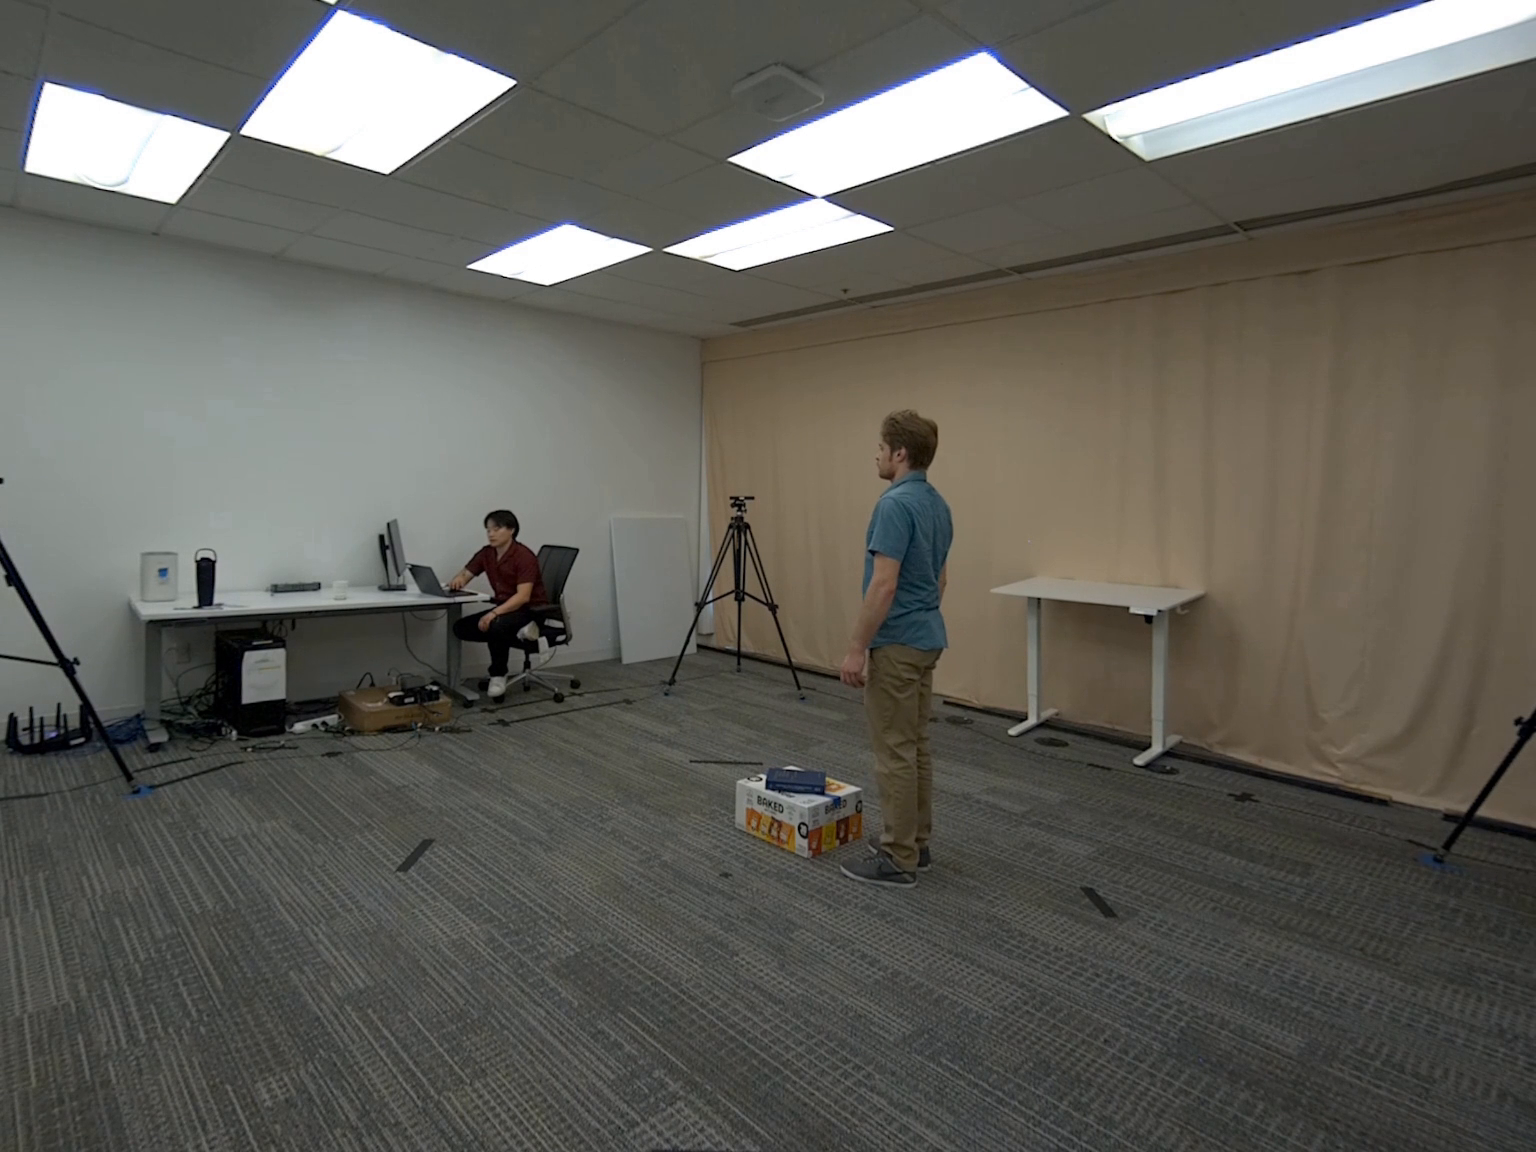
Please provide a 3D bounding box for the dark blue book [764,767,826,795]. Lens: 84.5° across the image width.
[{"bbox_3d":[0.111,0.859,3.525,0.247,0.045,0.163,3,5,7],"label":"dark blue book"}]
